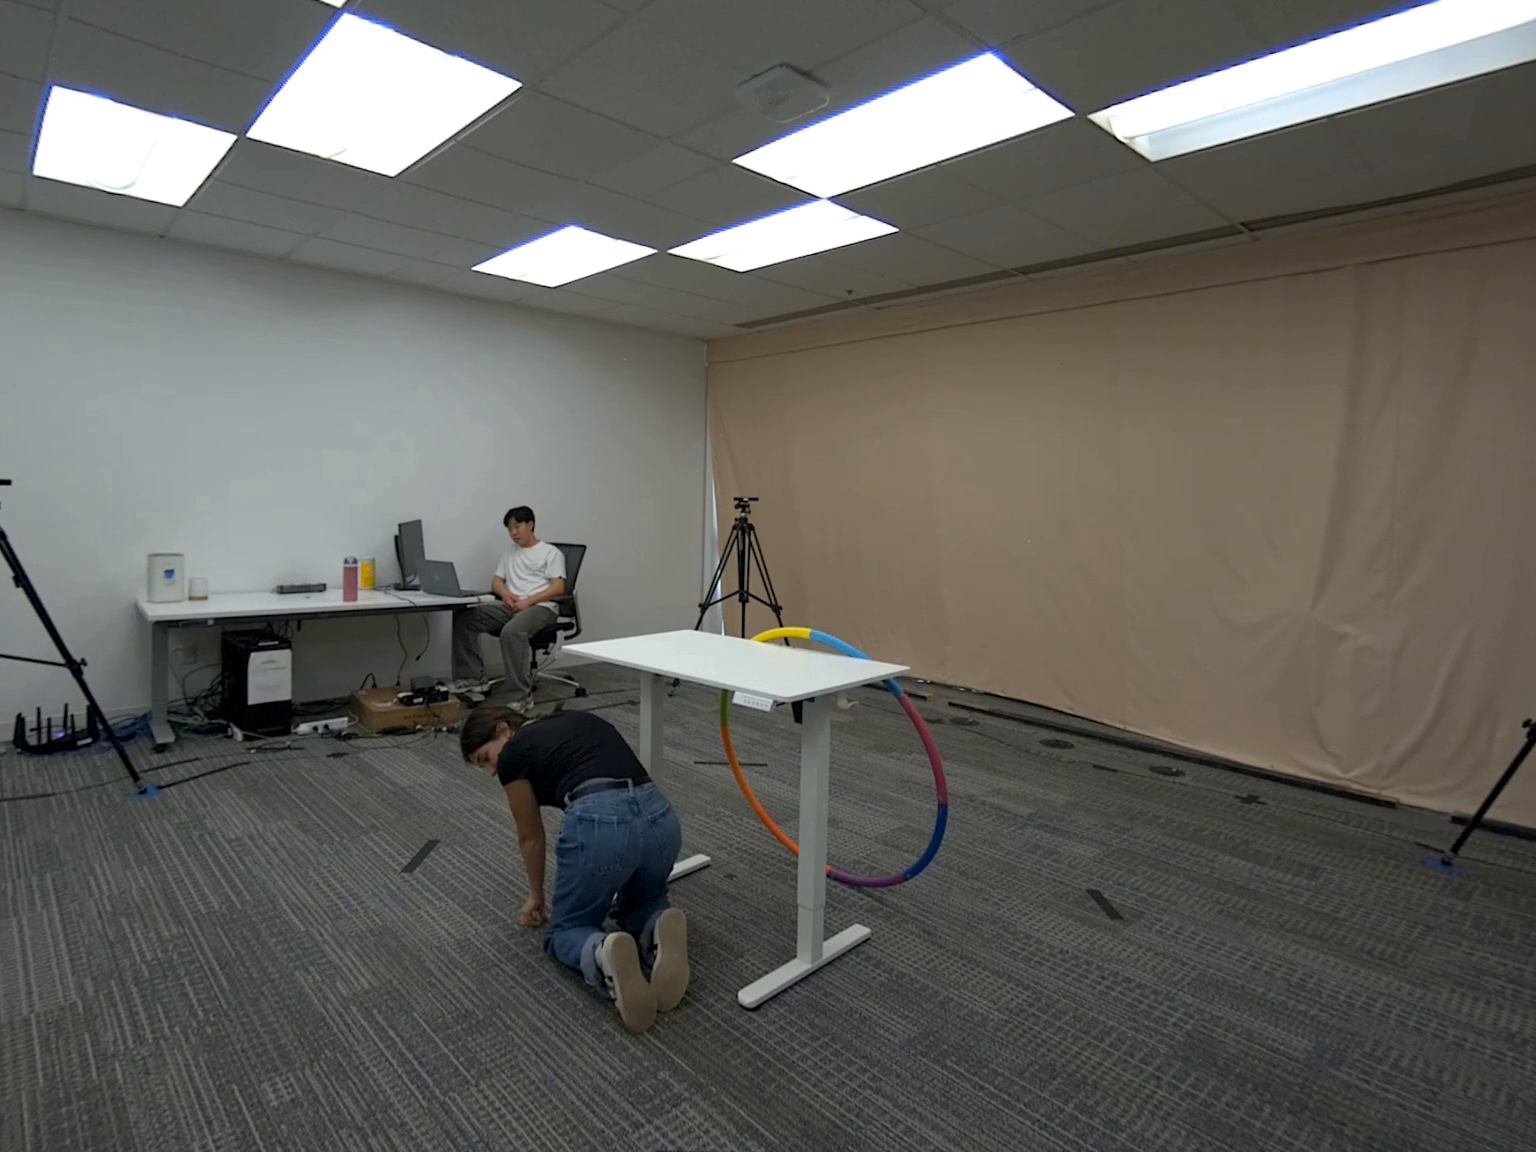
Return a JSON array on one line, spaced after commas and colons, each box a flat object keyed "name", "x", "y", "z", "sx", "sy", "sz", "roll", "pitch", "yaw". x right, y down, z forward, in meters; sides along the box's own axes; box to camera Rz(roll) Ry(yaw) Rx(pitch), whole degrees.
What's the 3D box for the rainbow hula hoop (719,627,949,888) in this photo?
[{"name": "rainbow hula hoop", "x": 0.184, "y": 0.655, "z": 2.991, "sx": 1.004, "sy": 0.967, "sz": 0.035, "roll": 5, "pitch": 19, "yaw": 42}]
